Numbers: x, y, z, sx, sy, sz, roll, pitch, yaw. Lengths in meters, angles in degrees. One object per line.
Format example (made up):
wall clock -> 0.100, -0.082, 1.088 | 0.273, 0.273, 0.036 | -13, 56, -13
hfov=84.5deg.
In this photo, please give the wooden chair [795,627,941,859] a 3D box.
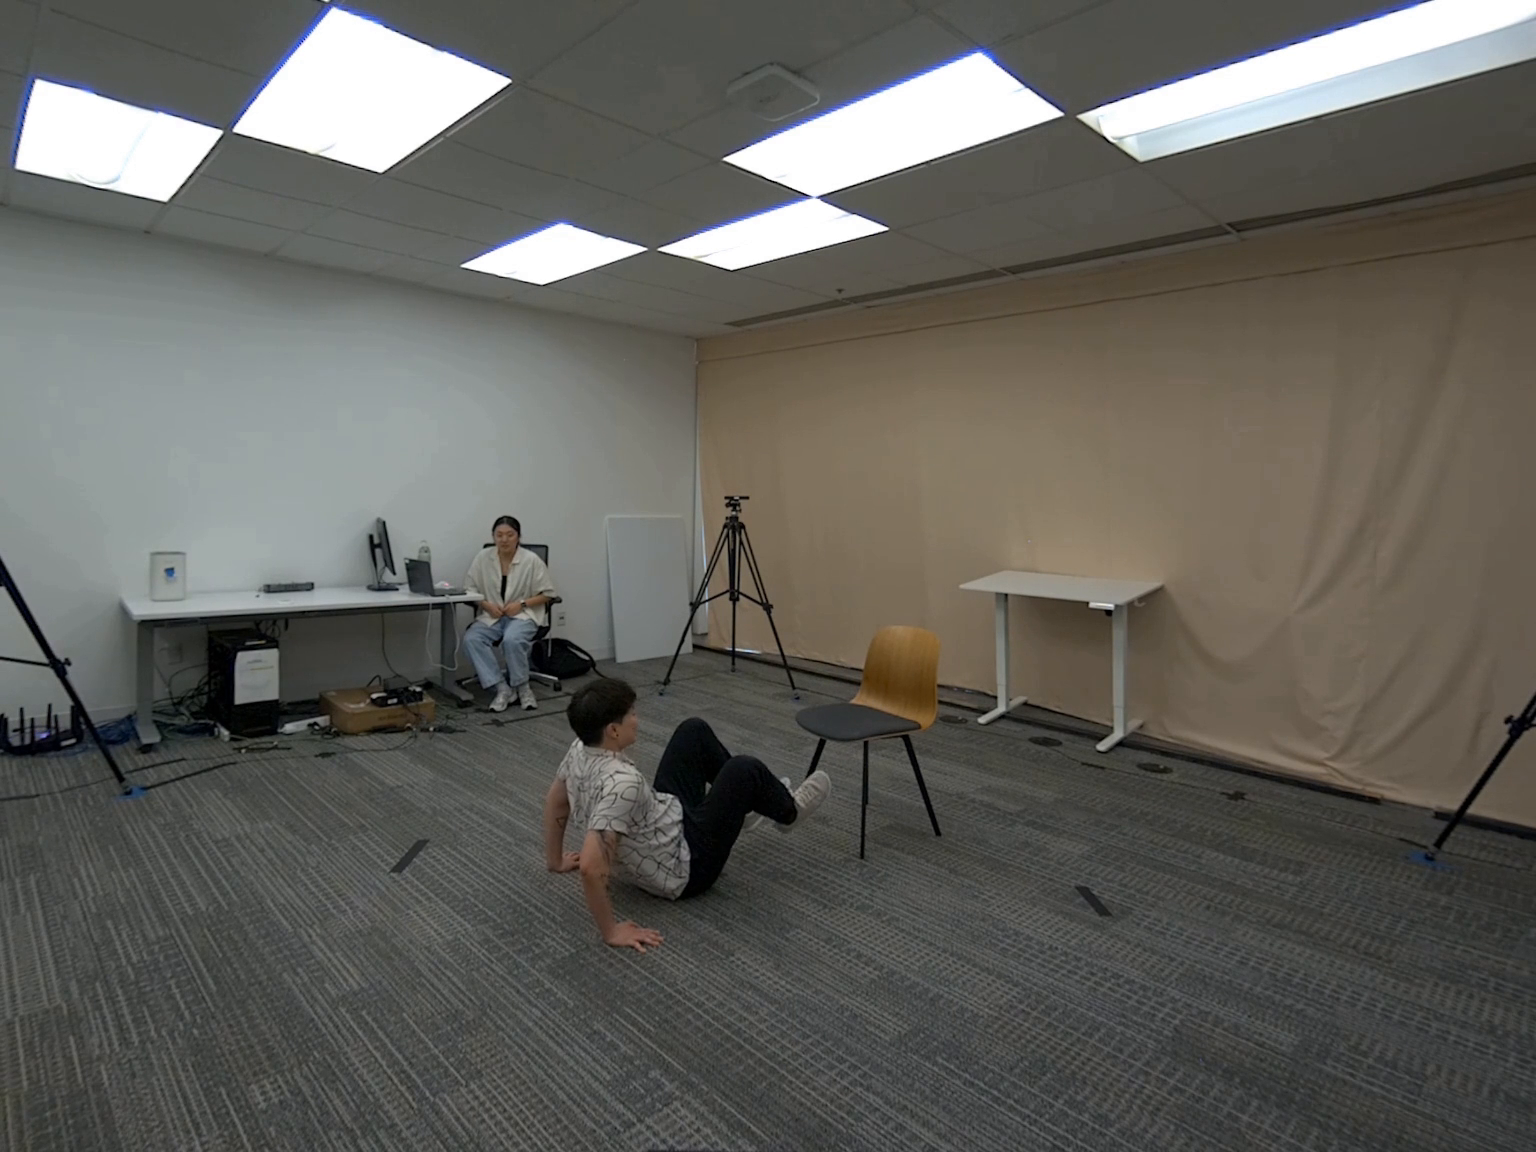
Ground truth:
wooden chair -> 0.408, 0.650, 3.547 | 0.511, 0.877, 0.490 | 5, 1, -36
